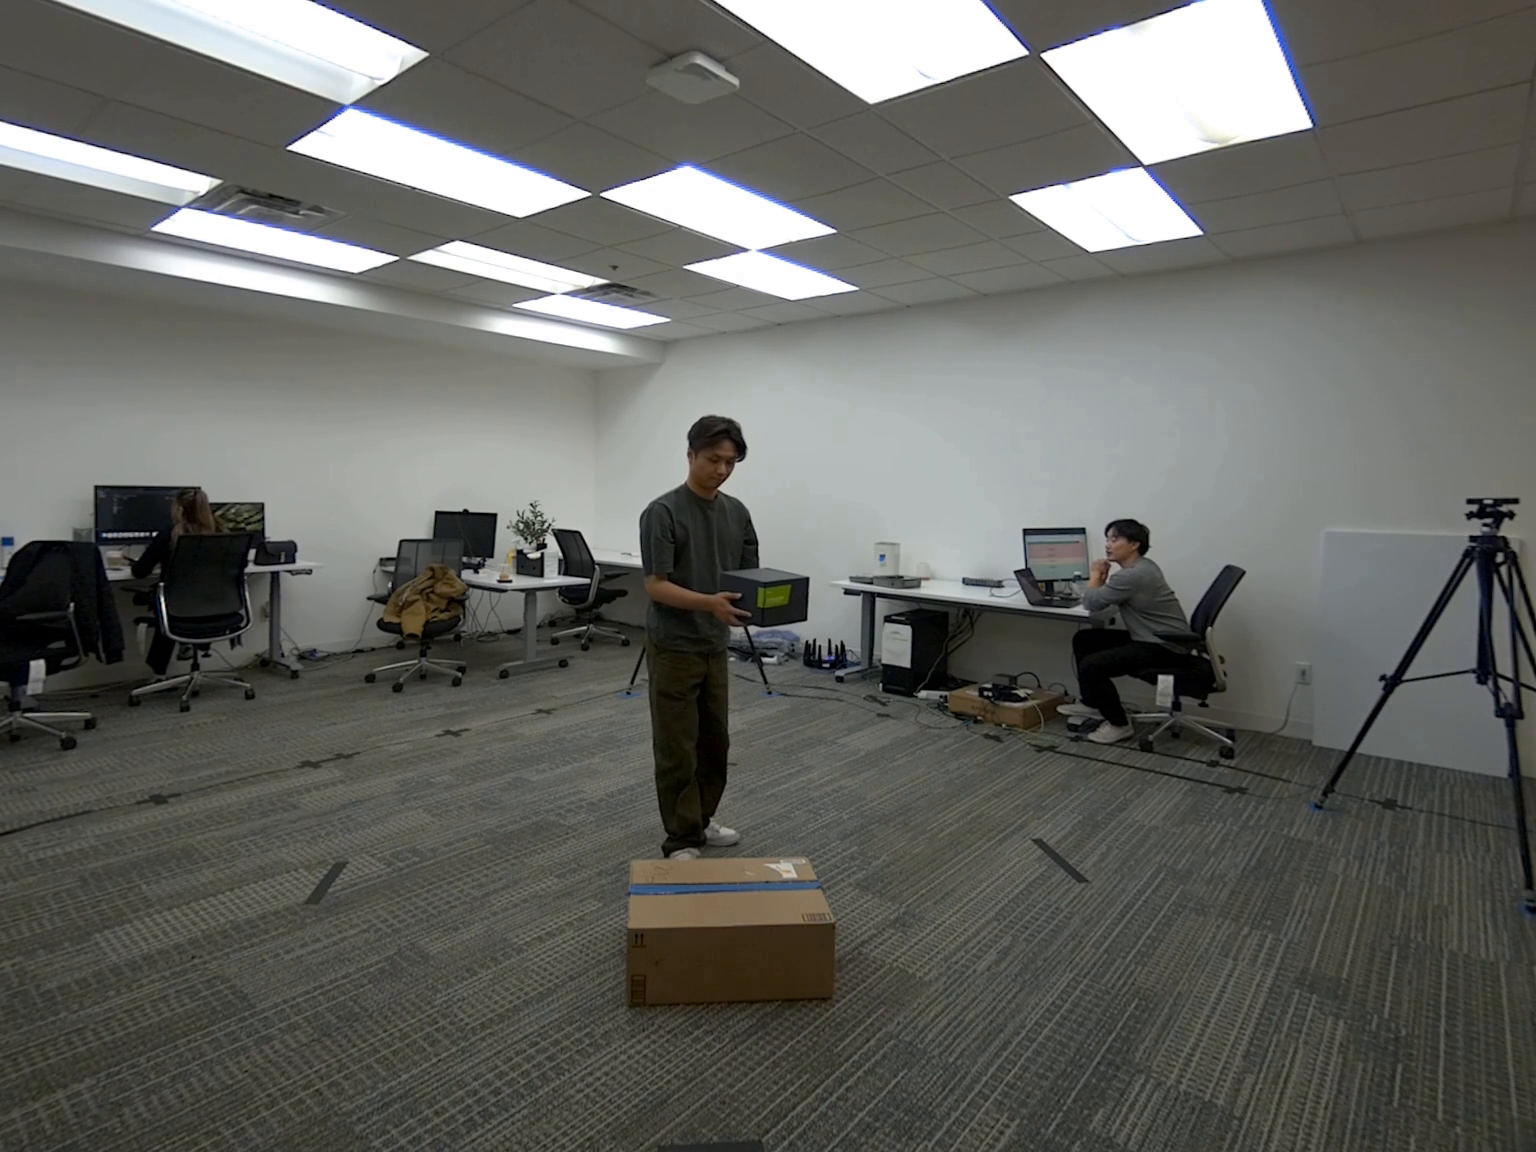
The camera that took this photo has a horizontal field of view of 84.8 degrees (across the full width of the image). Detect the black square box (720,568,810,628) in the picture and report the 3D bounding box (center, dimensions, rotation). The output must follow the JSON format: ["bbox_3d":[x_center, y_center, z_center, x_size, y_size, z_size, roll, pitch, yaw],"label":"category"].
[{"bbox_3d":[-0.022,0.067,2.924,0.225,0.155,0.221,11,11,43],"label":"black square box"}]
